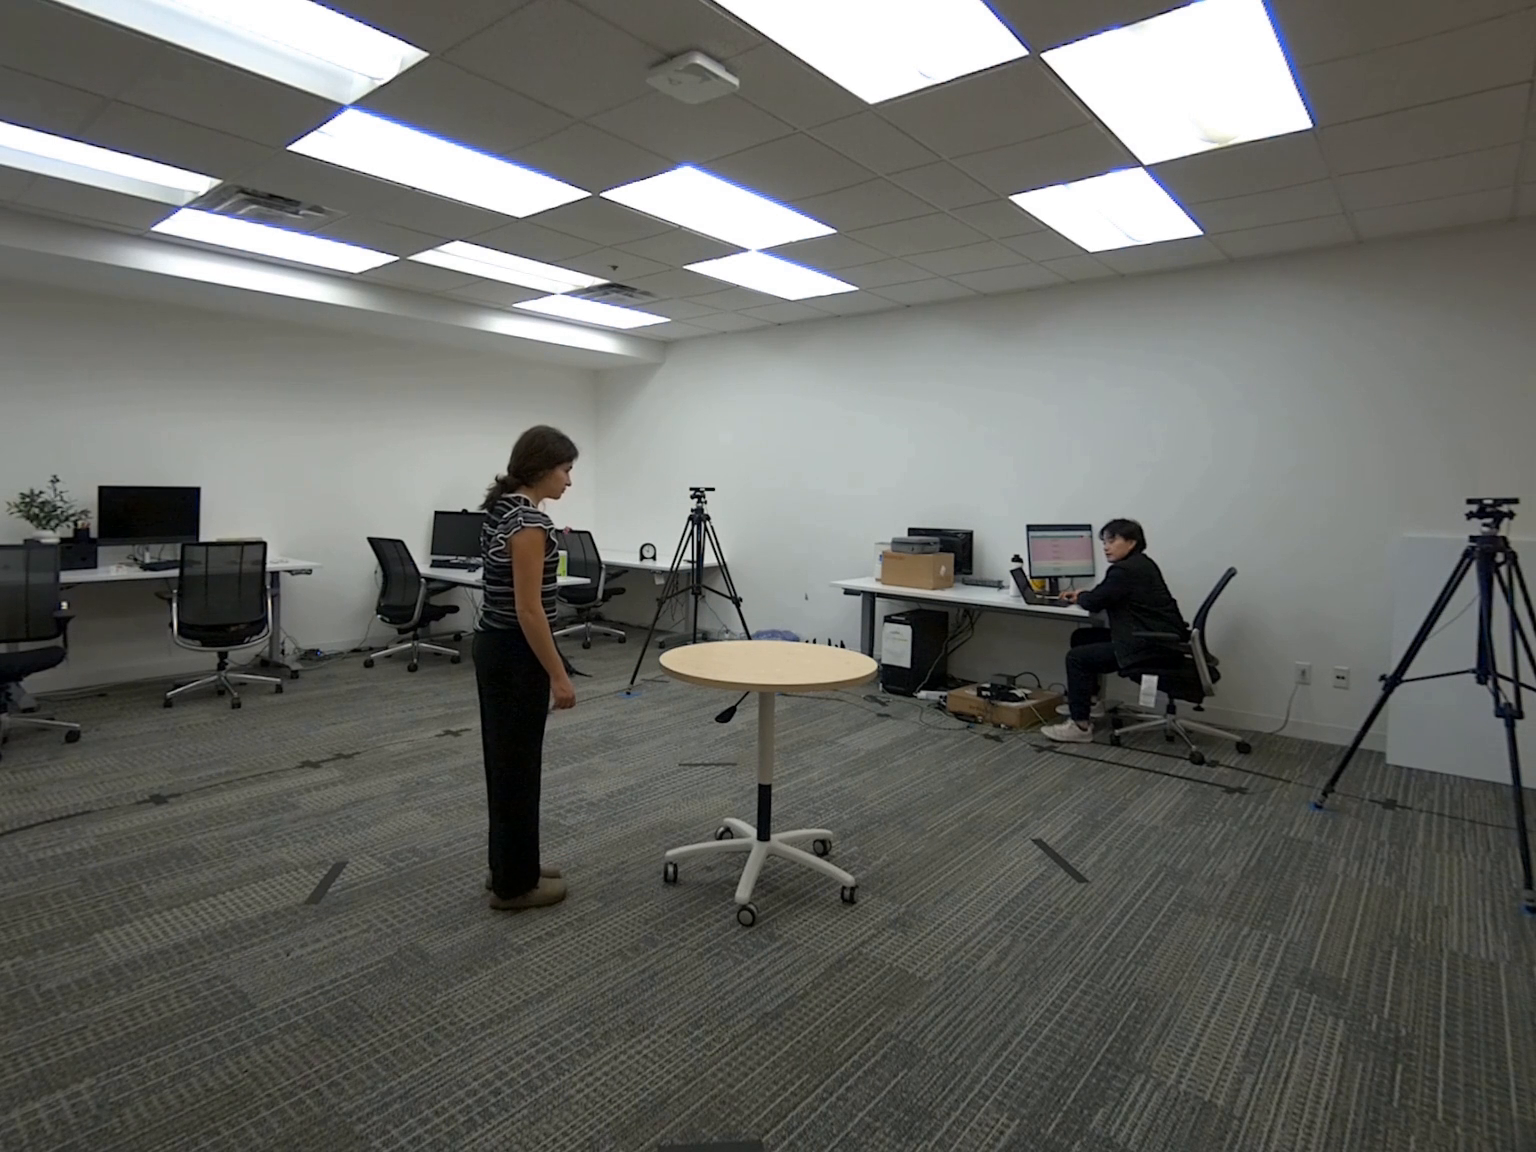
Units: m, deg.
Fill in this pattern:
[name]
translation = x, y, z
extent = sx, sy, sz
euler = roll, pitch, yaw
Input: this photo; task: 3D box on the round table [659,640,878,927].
[round table]
translation = -0.022, 0.686, 3.040
extent = 0.784, 0.784, 0.789
euler = 1, 5, -2
